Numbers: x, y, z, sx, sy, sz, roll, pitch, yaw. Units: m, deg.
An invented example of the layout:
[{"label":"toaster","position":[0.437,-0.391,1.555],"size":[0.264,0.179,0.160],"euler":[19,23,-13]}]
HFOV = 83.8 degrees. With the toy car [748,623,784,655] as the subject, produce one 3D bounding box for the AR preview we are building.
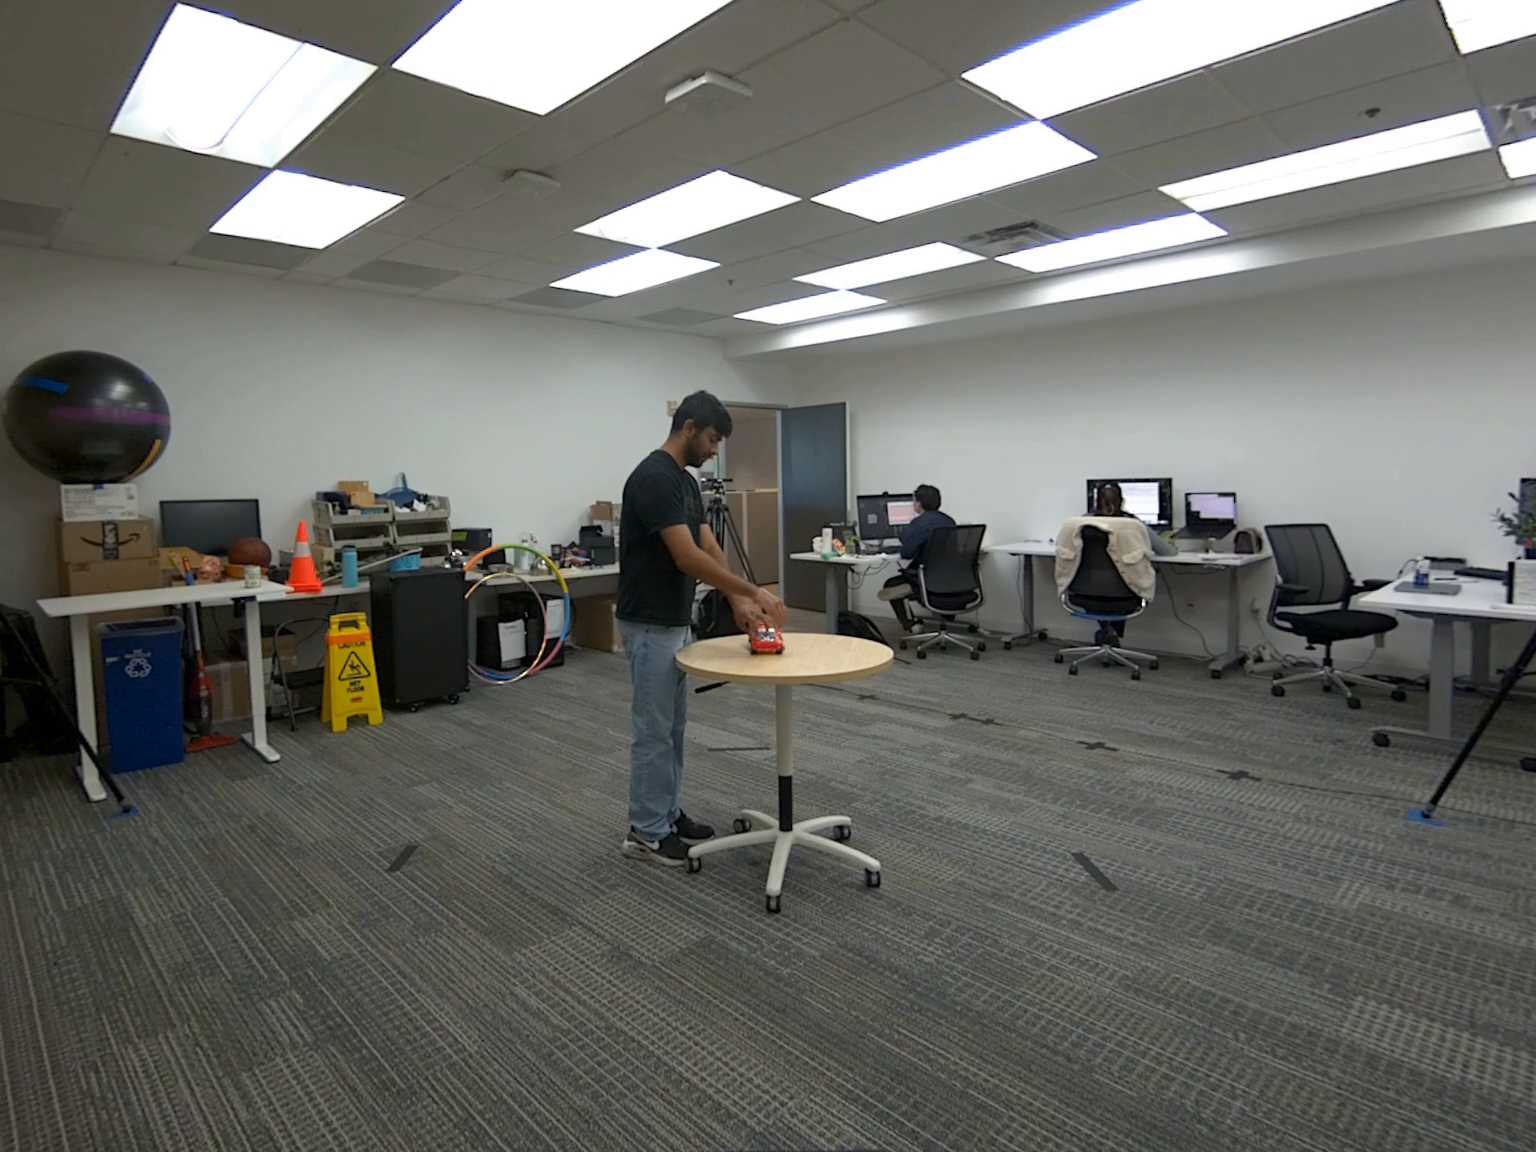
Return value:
[{"label":"toy car","position":[-0.007,0.231,3.083],"size":[0.130,0.082,0.258],"euler":[-3,17,0]}]
